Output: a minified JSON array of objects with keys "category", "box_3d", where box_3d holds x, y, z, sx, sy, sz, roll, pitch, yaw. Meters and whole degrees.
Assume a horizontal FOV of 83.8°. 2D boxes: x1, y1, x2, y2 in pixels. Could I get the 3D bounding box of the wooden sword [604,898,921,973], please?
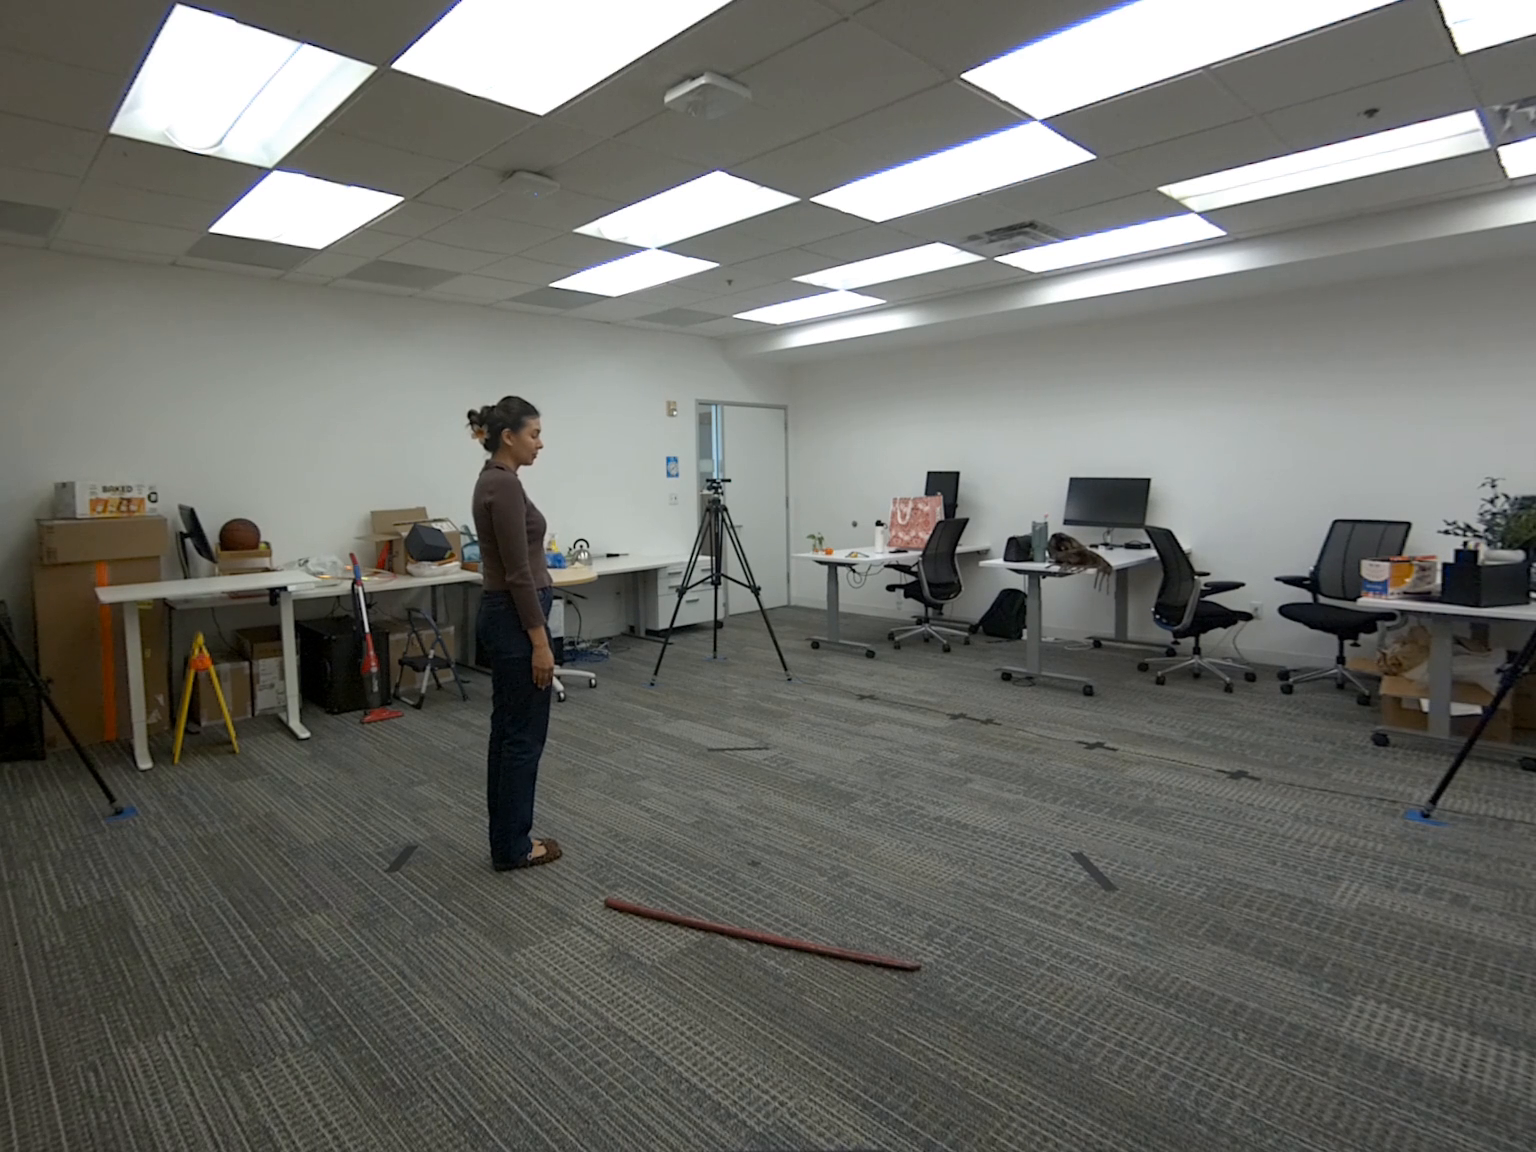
[{"category":"wooden sword","box_3d":[-0.051,1.077,2.609,1.047,0.024,0.050,2,6,23]}]
